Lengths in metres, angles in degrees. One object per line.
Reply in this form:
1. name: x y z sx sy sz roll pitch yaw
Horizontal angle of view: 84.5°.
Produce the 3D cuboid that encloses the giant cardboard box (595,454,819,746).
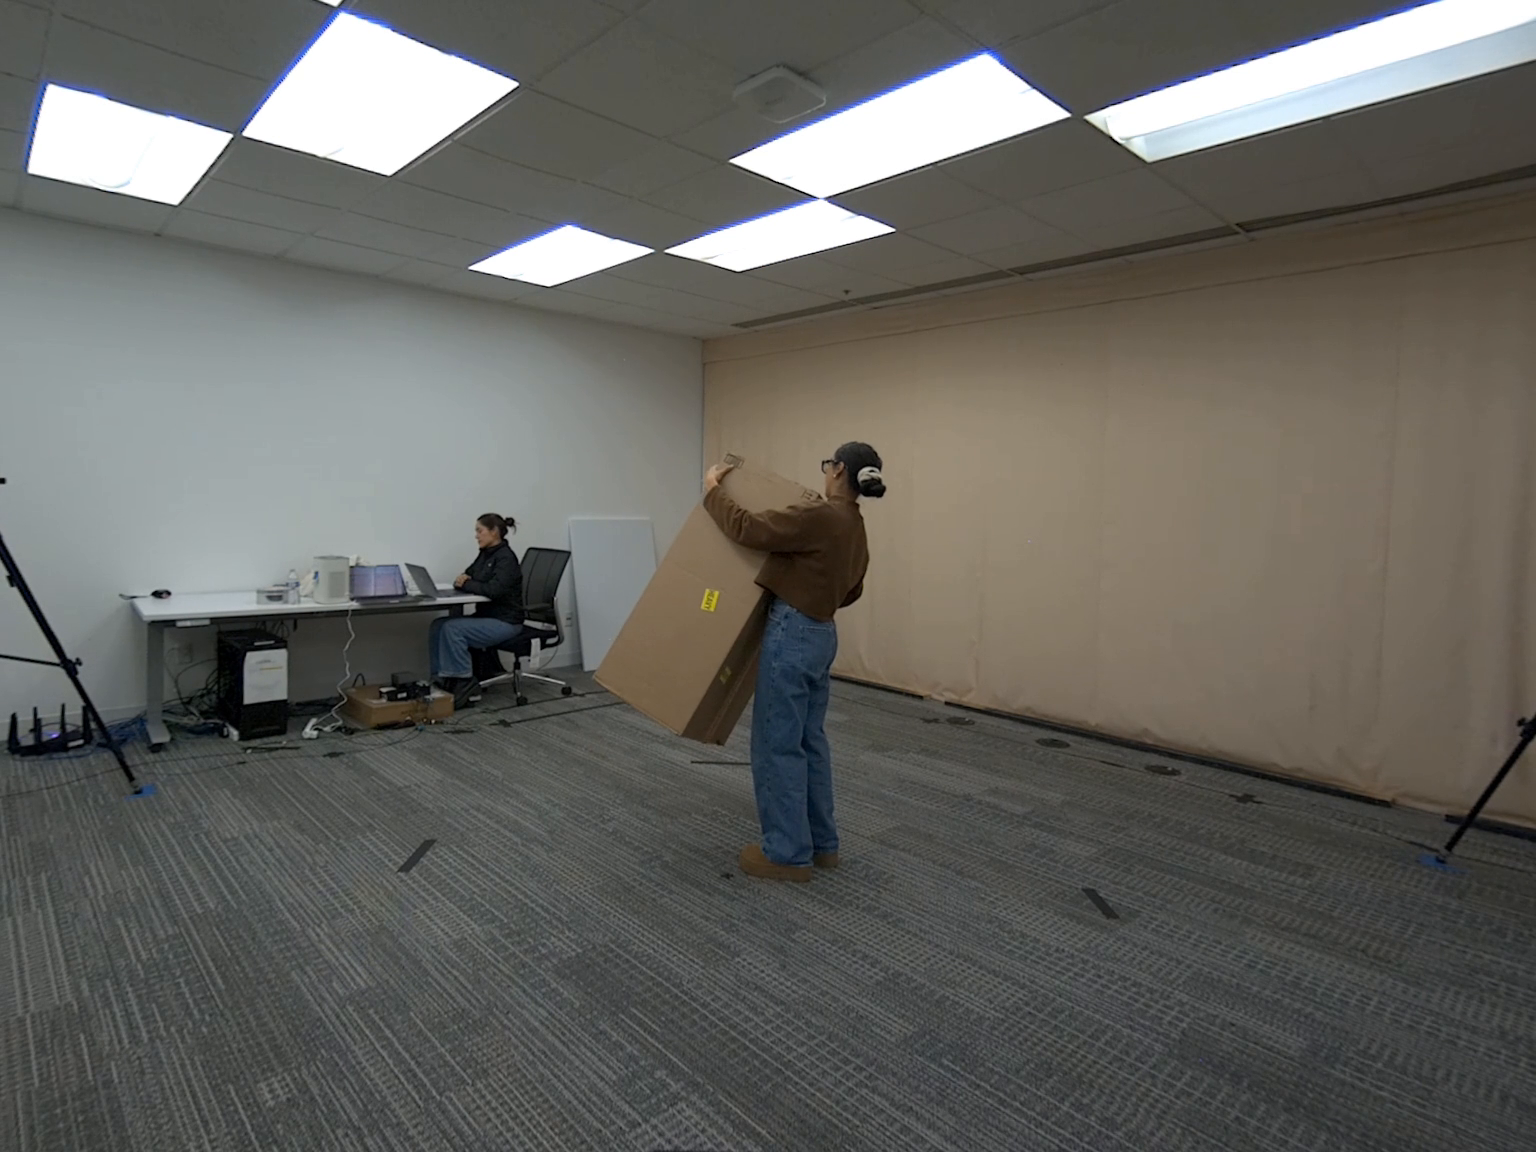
1. giant cardboard box: -0.178 0.113 3.397 0.435 1.027 0.564 28 -7 20
